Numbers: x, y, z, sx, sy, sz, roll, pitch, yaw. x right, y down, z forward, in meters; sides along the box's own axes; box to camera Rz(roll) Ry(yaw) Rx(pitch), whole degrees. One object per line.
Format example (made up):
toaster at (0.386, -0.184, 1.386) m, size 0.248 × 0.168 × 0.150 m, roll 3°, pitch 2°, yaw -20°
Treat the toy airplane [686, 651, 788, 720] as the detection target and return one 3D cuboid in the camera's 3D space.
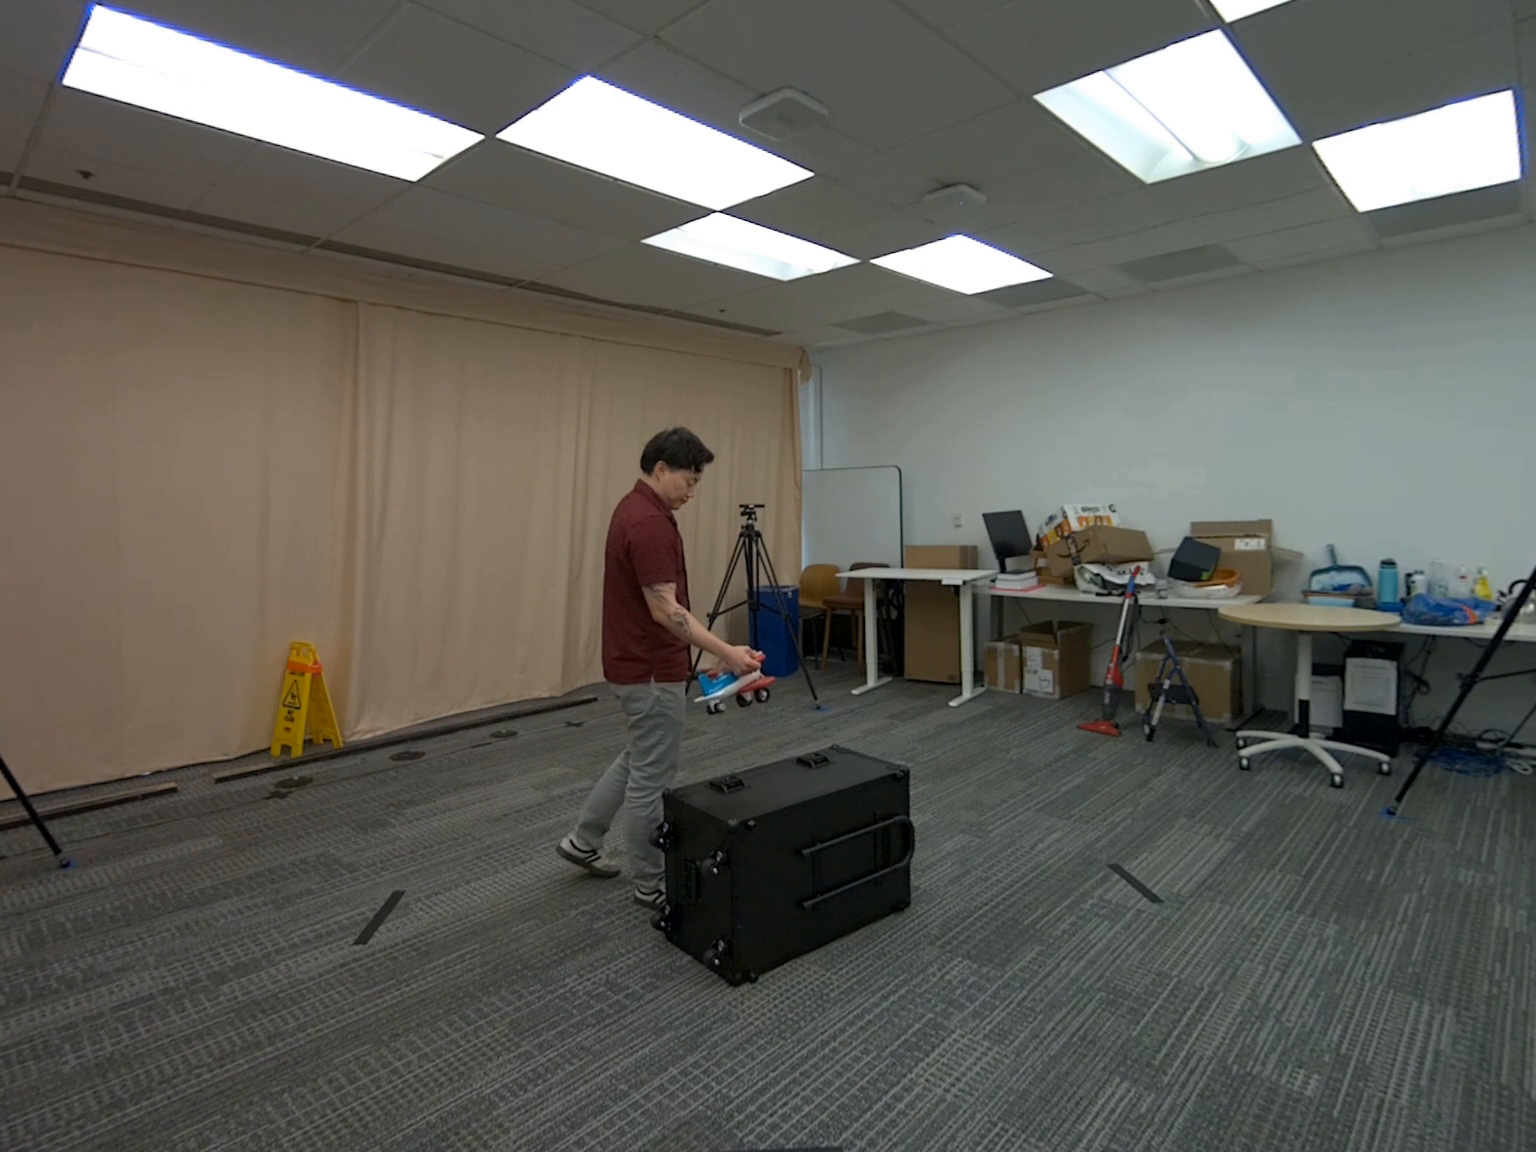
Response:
toy airplane at (-0.108, 0.344, 2.705) m, size 0.254 × 0.158 × 0.253 m, roll -15°, pitch -10°, yaw 15°
